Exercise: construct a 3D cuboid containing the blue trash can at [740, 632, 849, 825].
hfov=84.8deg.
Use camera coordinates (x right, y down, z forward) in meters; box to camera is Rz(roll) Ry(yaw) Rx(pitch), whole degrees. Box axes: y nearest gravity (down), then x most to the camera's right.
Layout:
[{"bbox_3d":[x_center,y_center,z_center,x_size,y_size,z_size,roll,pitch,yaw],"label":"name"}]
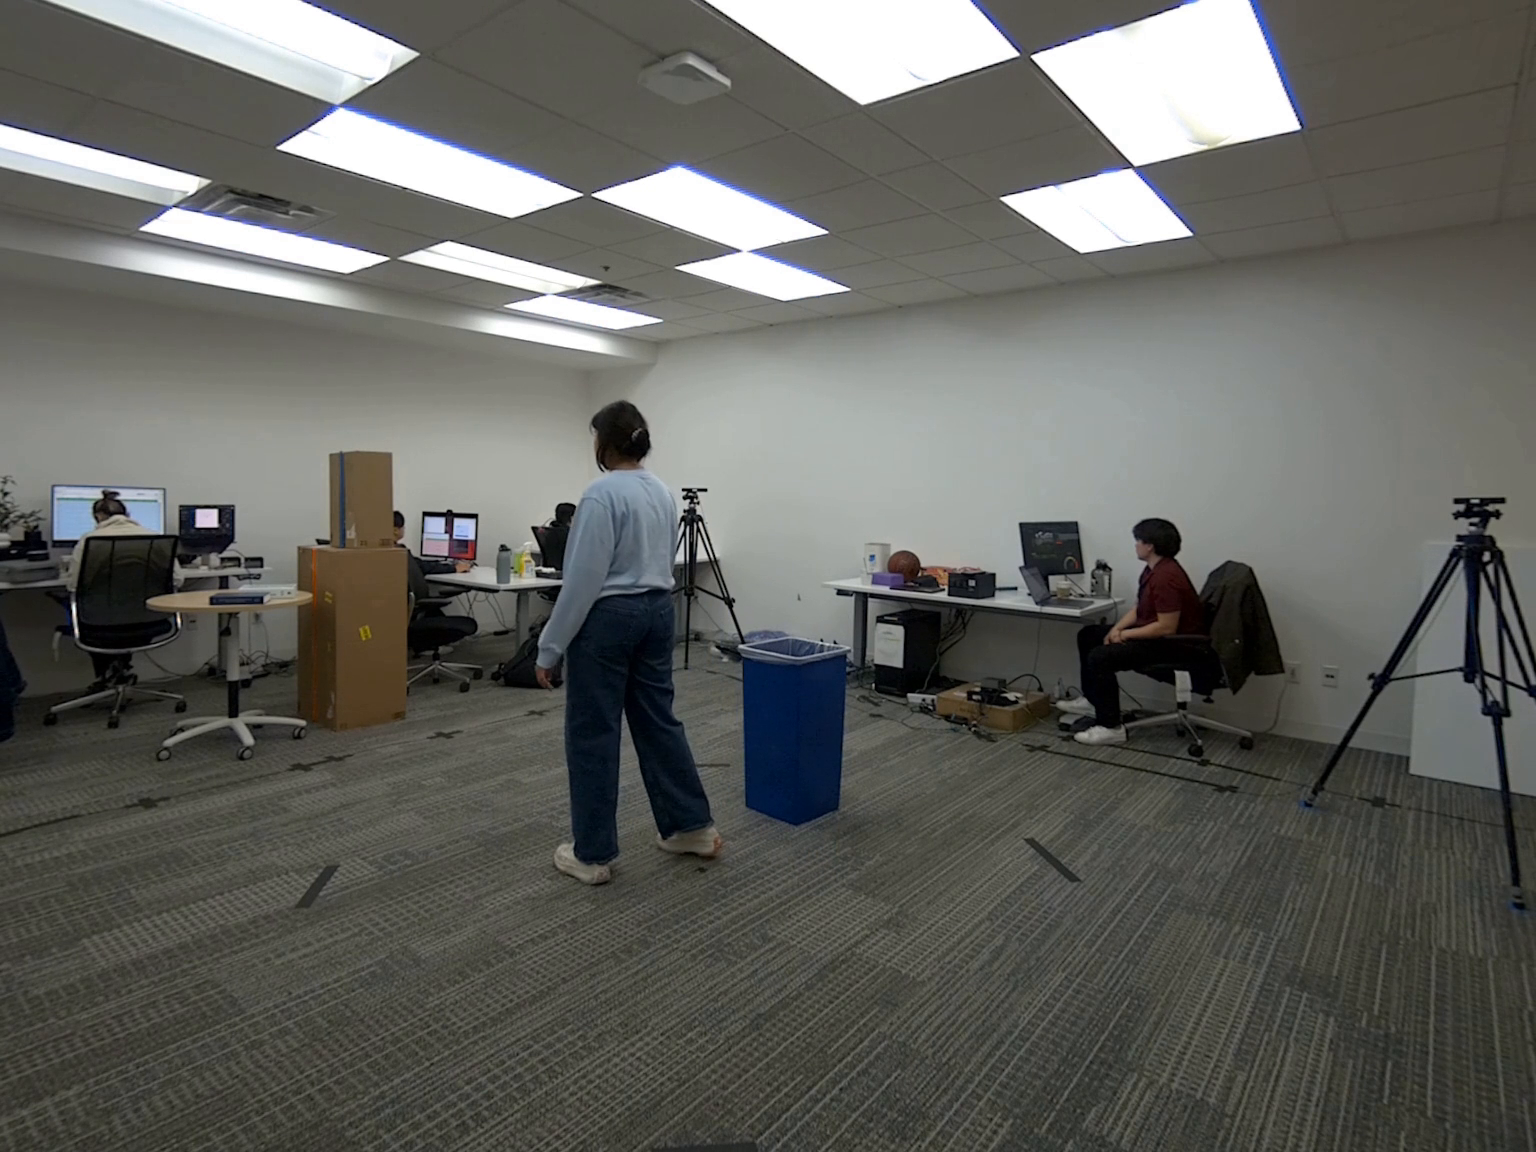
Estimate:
[{"bbox_3d":[0.095,0.660,3.725,0.387,0.711,0.367,4,5,43],"label":"blue trash can"}]
